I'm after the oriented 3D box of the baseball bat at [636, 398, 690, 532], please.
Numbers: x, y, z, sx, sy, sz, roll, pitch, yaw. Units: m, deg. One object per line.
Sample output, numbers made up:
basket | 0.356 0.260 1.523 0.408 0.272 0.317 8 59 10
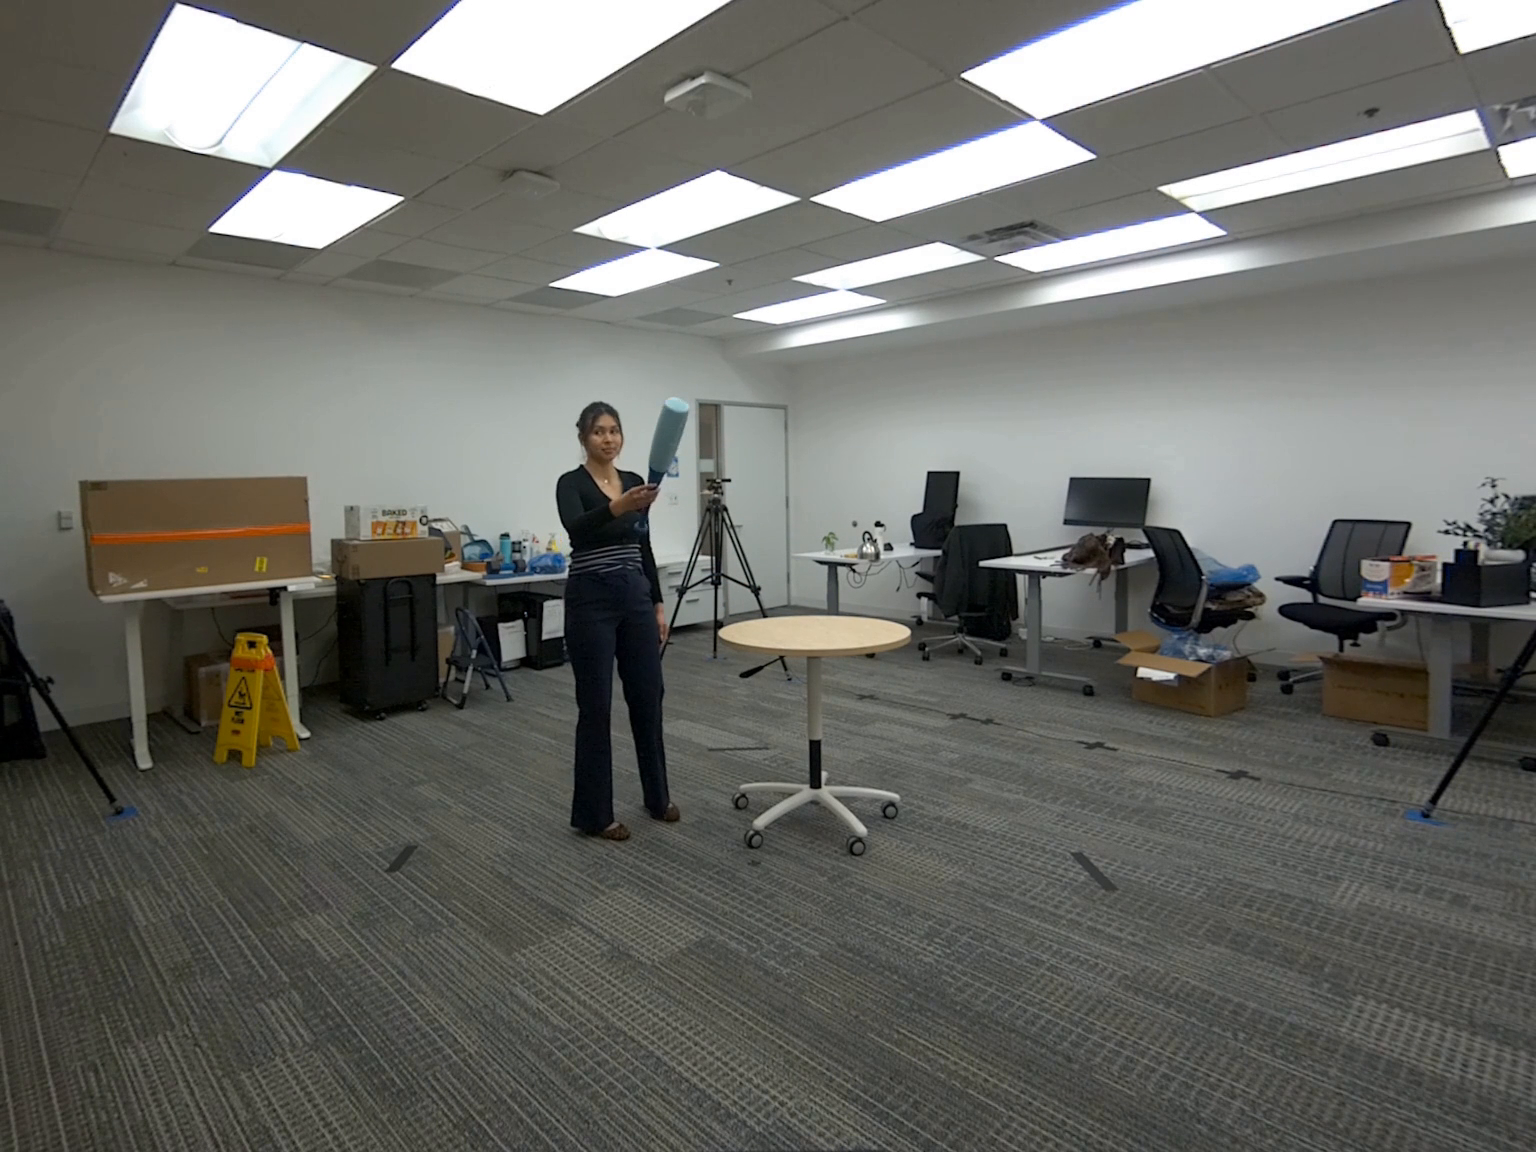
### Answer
baseball bat | -0.365 -0.351 2.845 0.088 0.535 0.091 13 40 -13
